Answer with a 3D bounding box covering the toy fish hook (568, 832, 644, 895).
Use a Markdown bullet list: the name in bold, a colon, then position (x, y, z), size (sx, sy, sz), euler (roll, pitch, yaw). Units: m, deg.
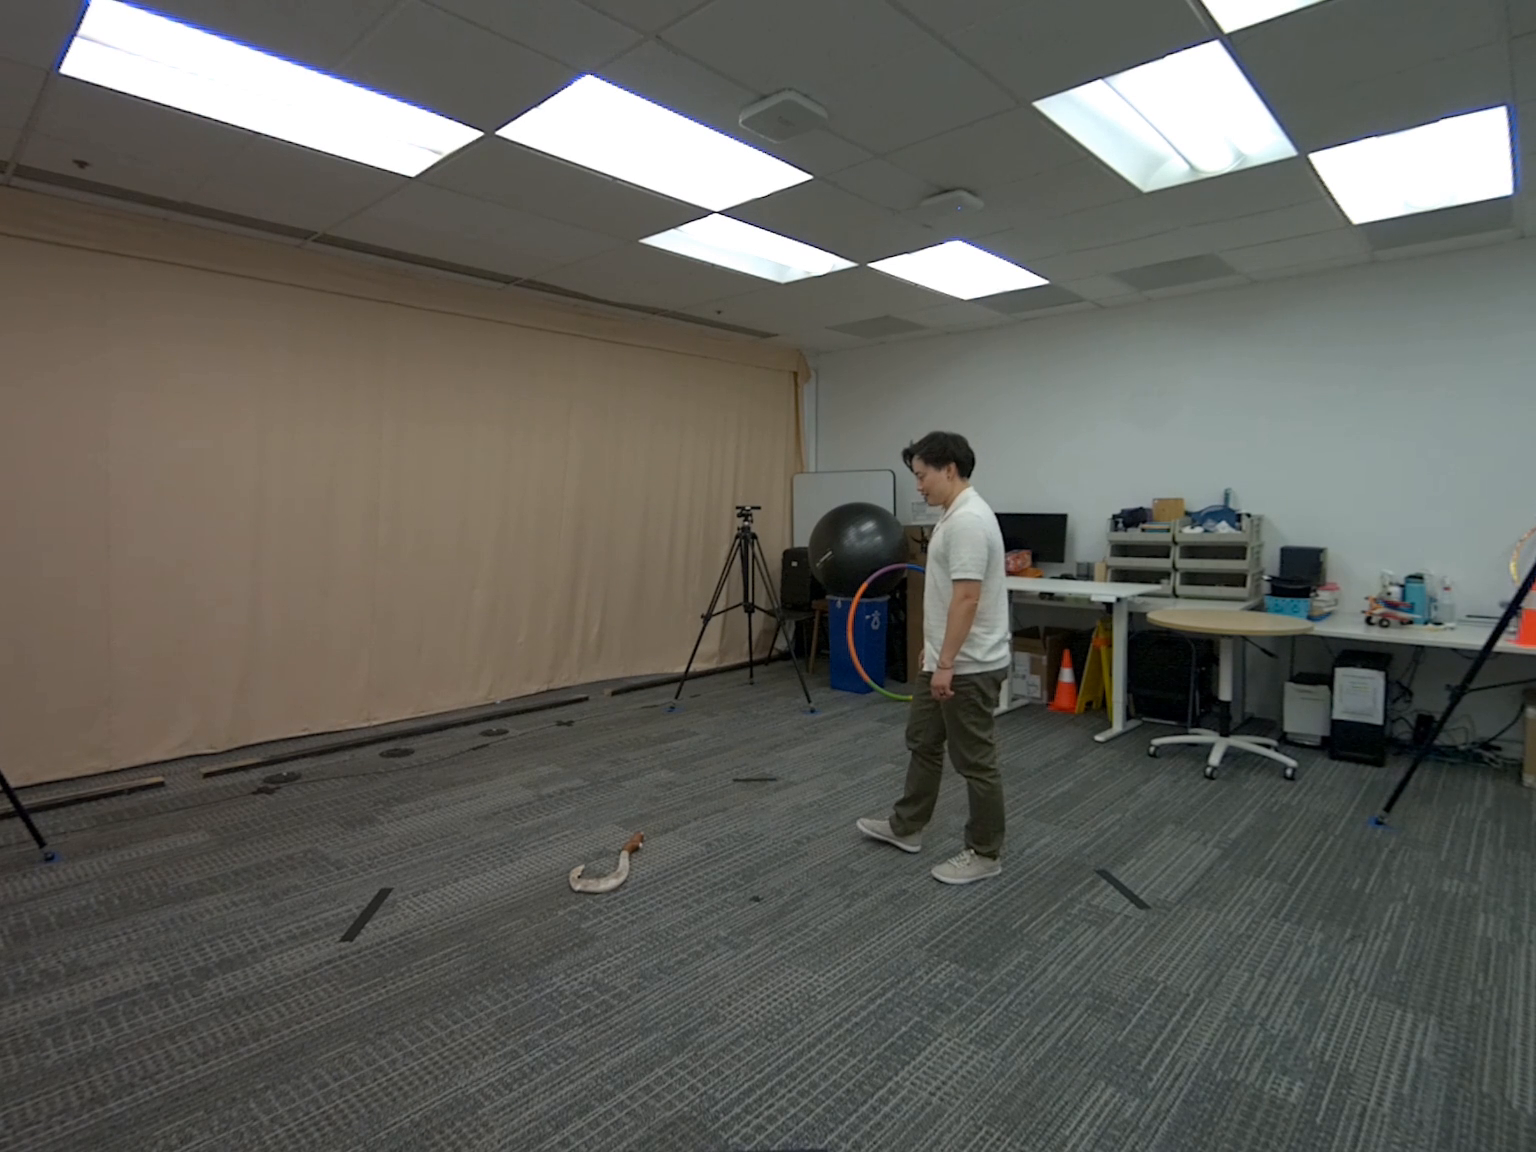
- **toy fish hook**: position (-0.616, 1.104, 3.278), size (0.227, 0.048, 0.502), euler (1, 5, 8)
